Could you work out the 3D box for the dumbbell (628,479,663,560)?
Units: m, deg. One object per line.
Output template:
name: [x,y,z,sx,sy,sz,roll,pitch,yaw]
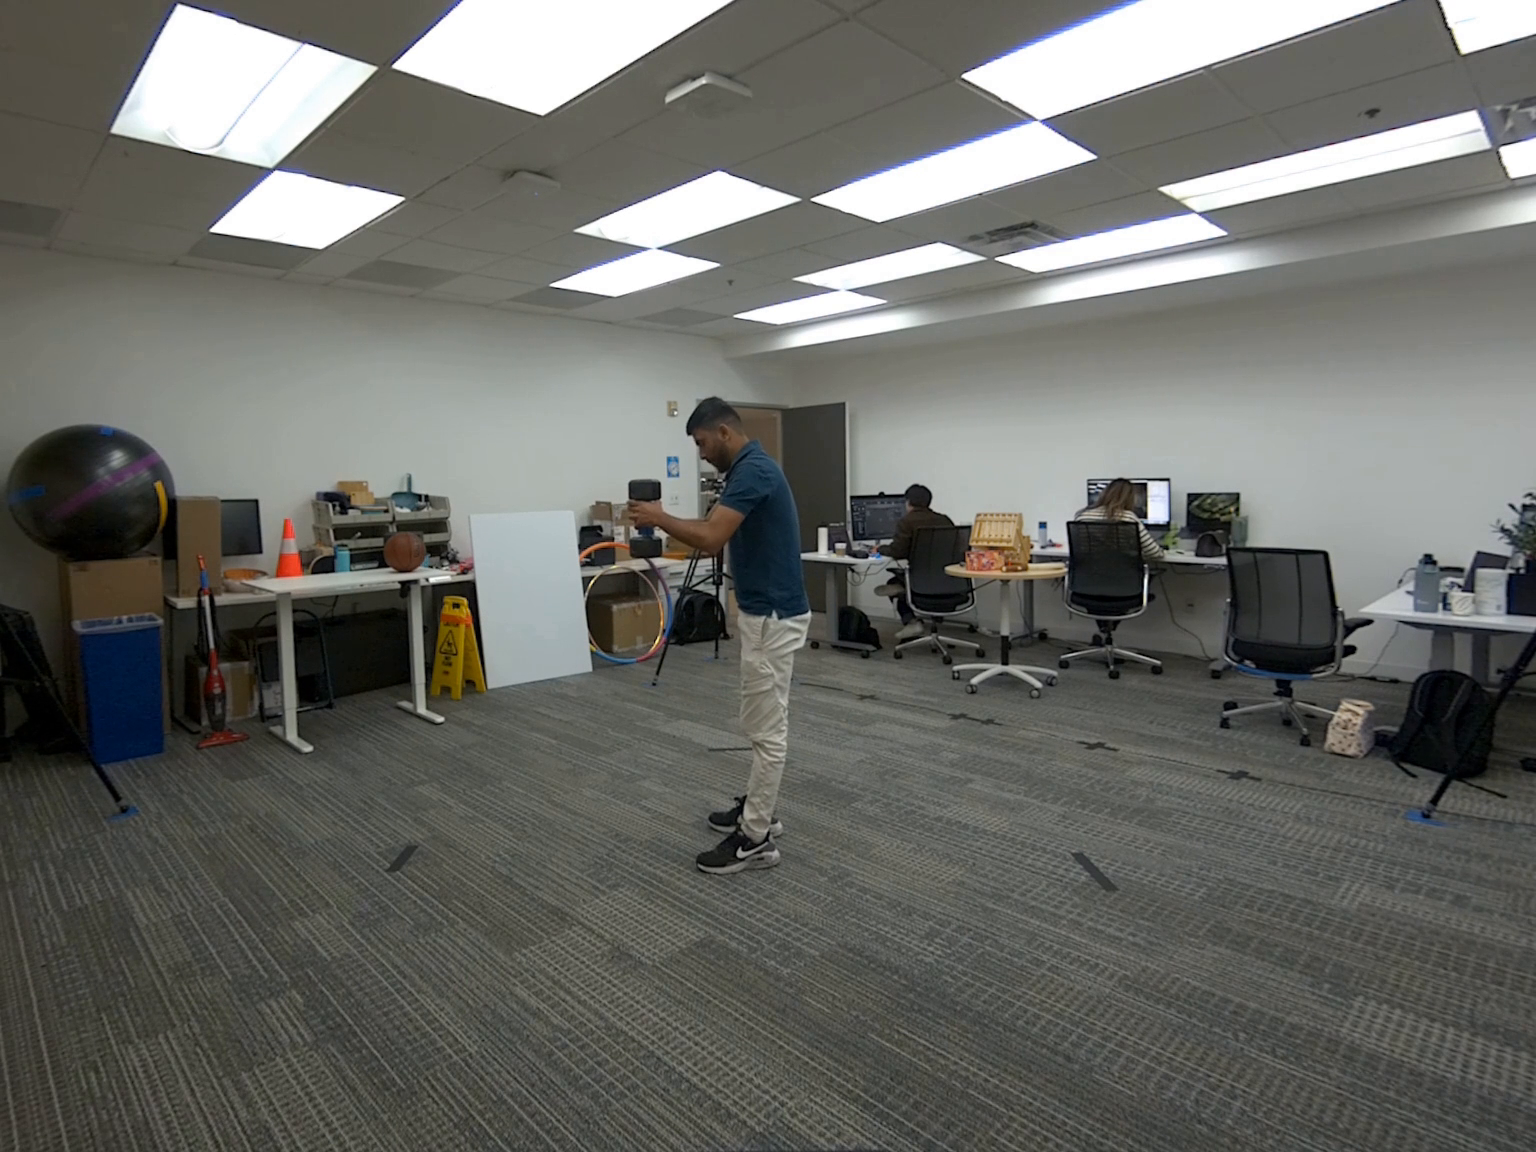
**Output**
dumbbell: [-0.453,-0.219,3.182,0.111,0.293,0.120,-2,1,25]
